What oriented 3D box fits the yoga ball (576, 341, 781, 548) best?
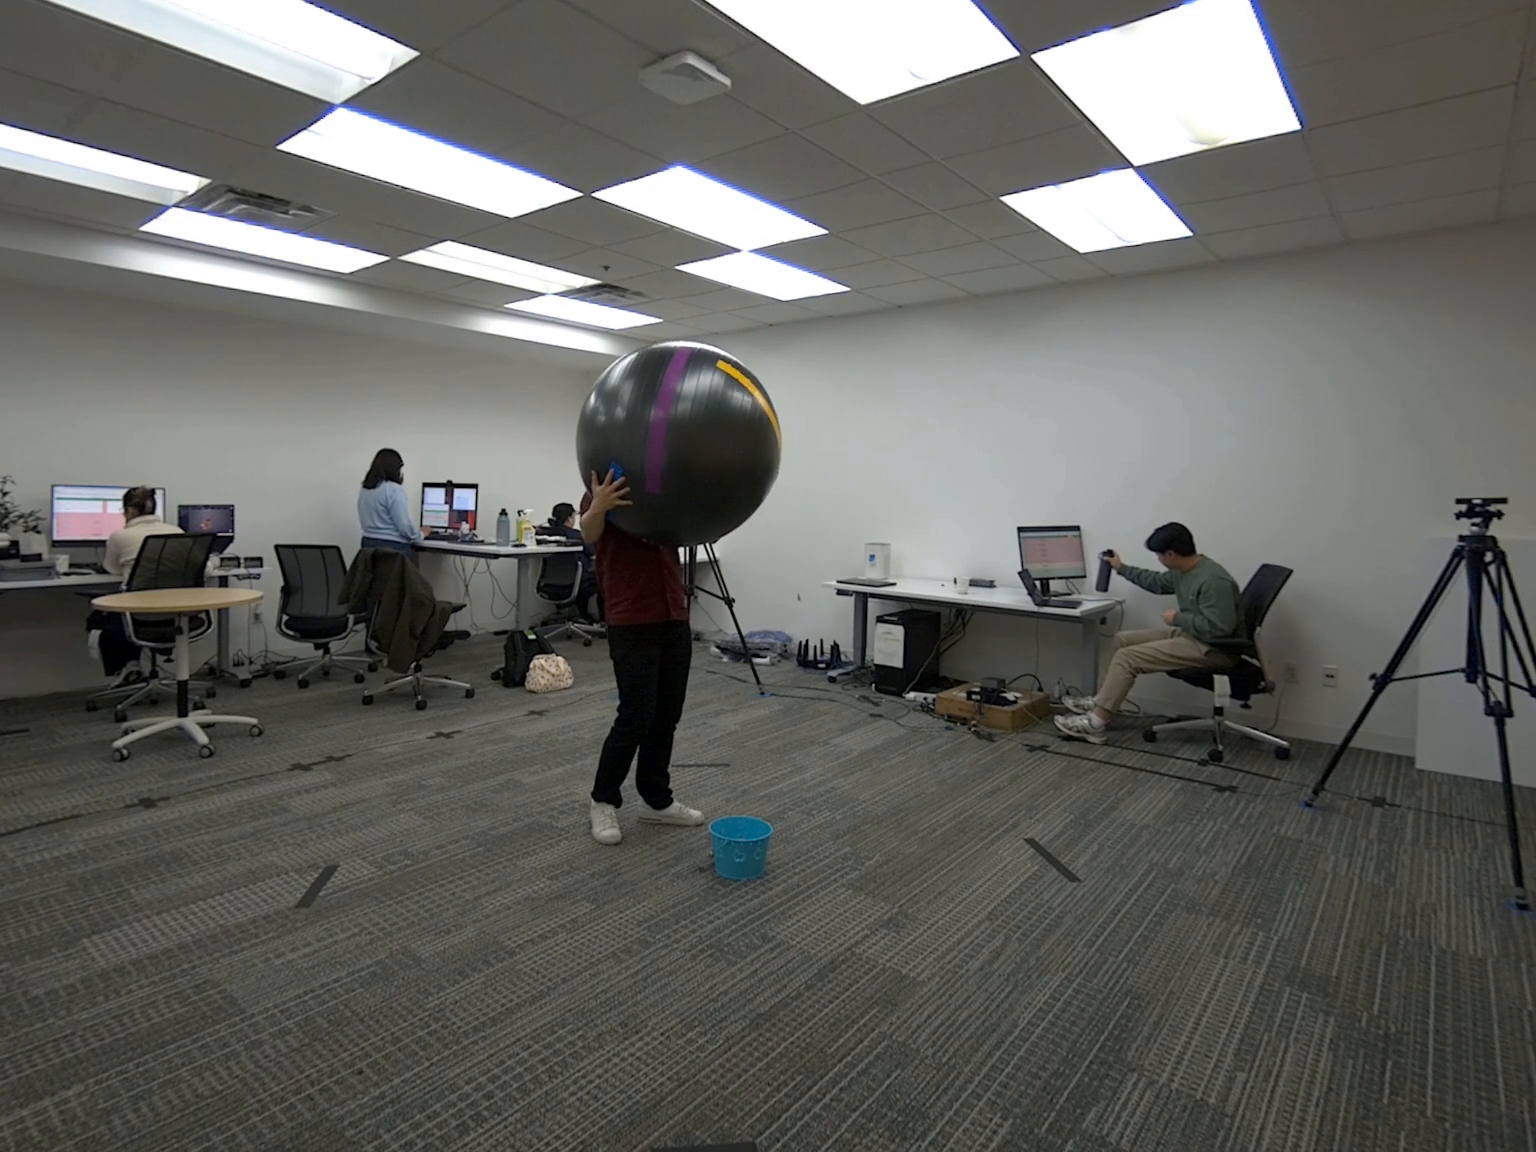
[{"bbox_3d":[-0.337,-0.479,3.156,0.757,0.756,0.762,1,4,-2],"label":"yoga ball"}]
